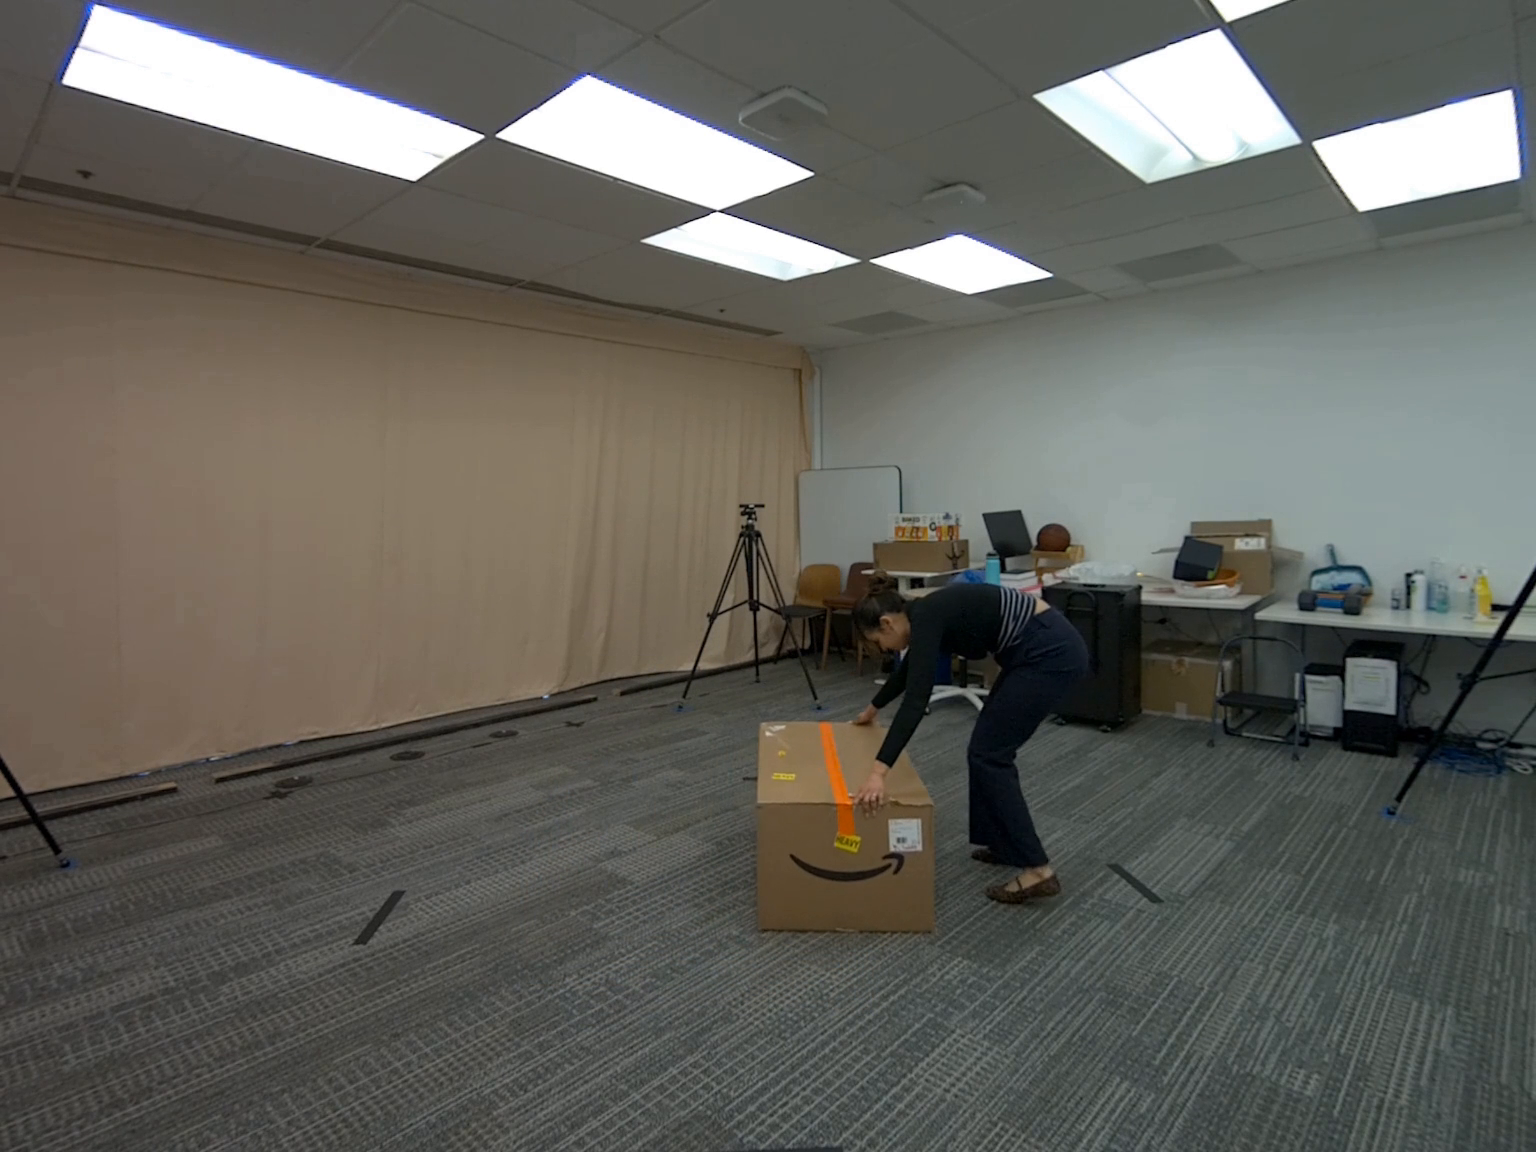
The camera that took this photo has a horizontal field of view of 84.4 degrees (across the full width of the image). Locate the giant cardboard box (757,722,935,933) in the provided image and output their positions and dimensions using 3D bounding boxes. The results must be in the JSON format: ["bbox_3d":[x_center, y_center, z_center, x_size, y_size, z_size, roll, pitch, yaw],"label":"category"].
[{"bbox_3d":[0.257,0.897,3.225,0.579,0.425,1.026,-1,5,1],"label":"giant cardboard box"}]
